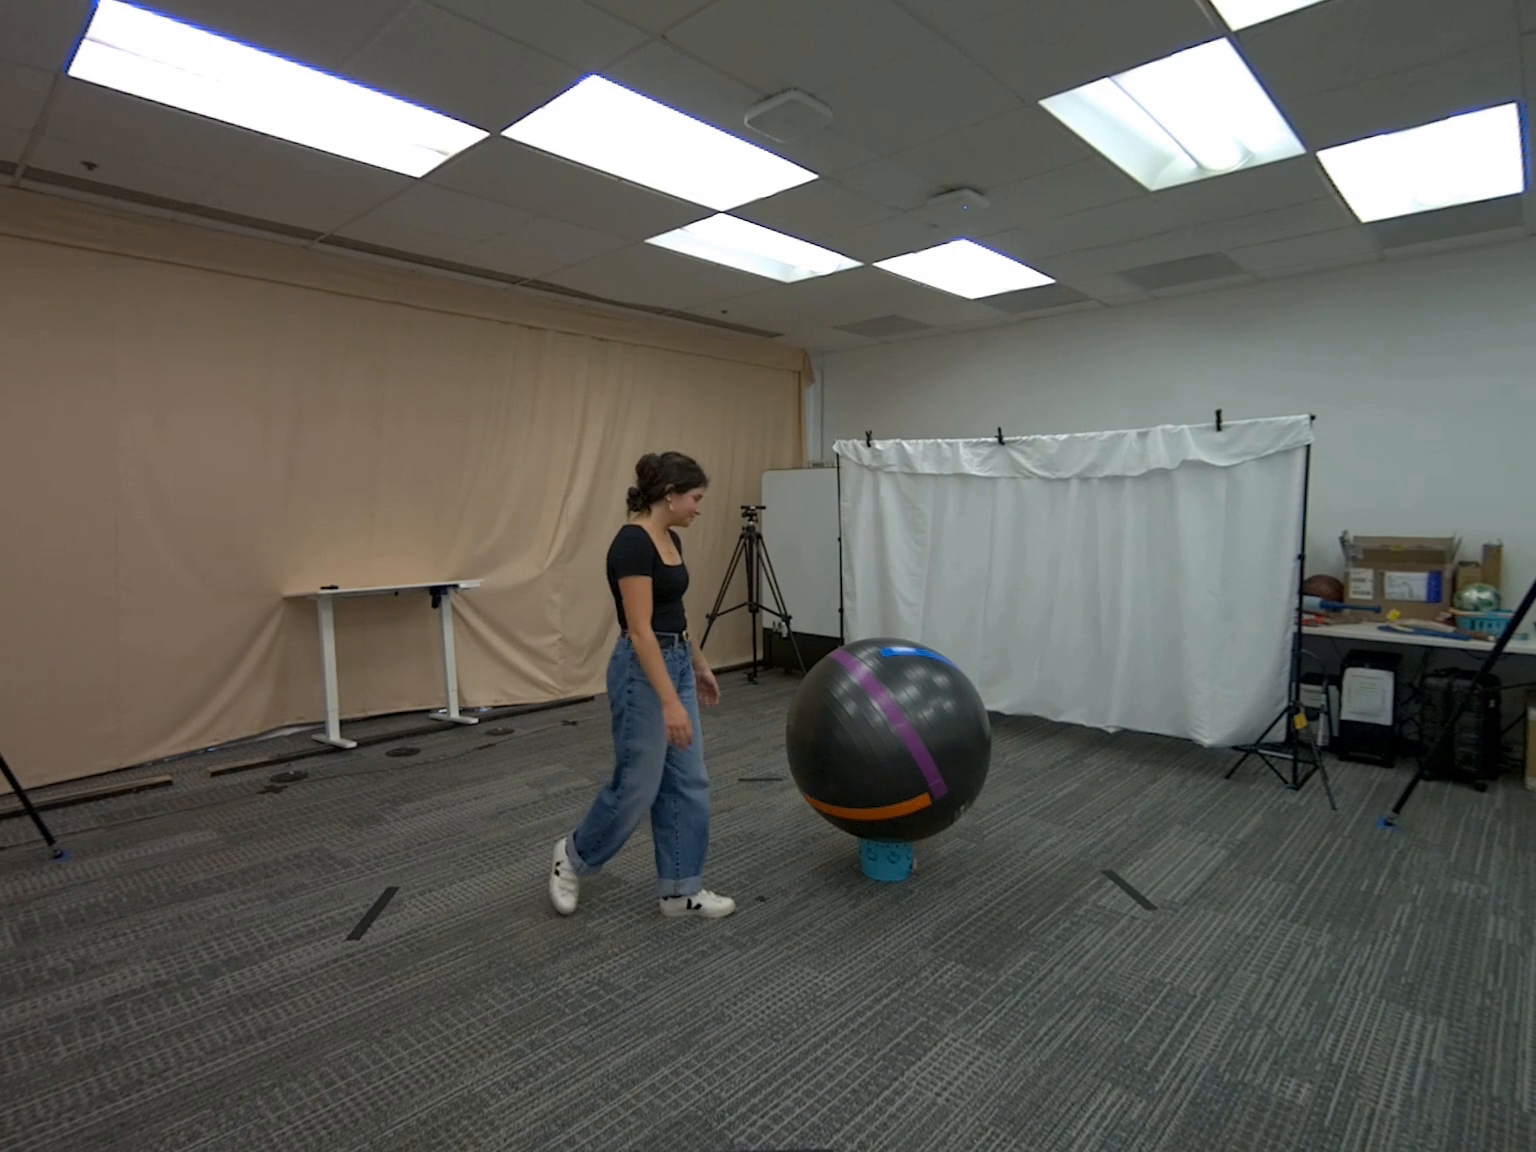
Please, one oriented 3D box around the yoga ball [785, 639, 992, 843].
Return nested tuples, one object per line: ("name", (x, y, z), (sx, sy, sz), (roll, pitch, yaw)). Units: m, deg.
("yoga ball", (0.457, 0.620, 3.191), (0.757, 0.756, 0.760), (0, 4, -2))
